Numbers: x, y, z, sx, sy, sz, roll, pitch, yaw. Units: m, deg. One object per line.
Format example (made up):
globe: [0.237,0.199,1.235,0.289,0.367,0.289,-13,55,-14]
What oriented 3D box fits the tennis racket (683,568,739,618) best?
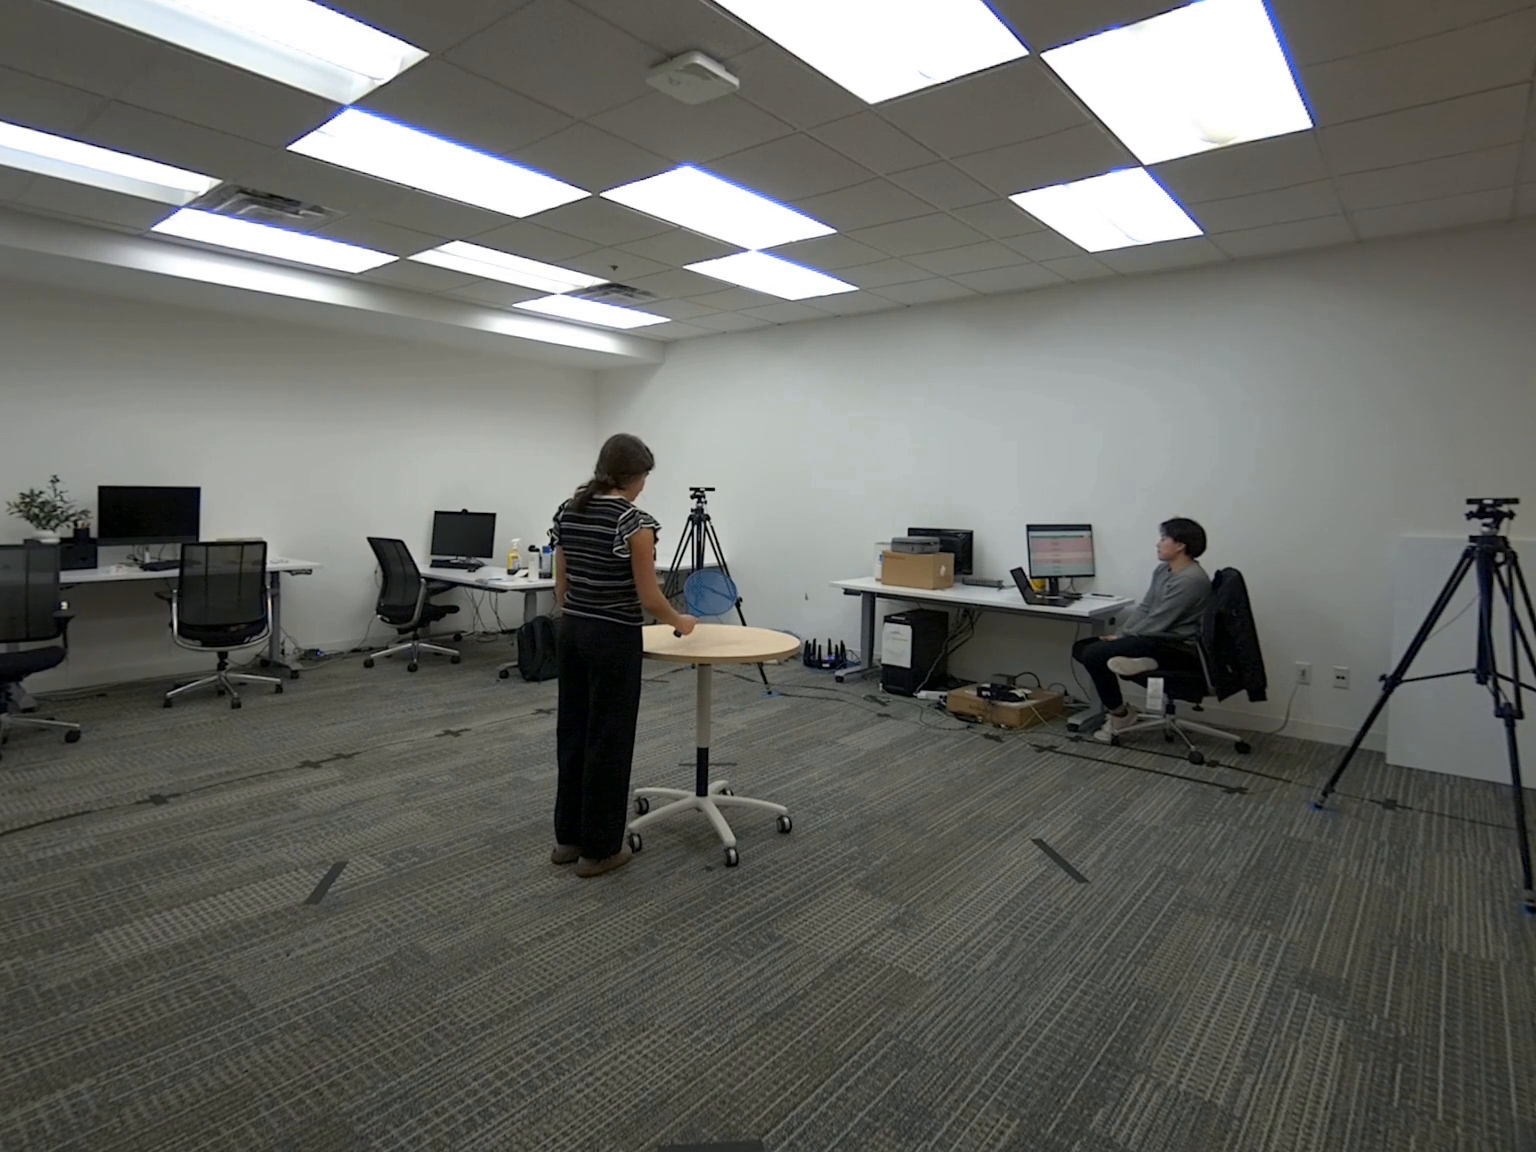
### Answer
tennis racket: [-0.265,0.111,3.365,0.215,0.031,0.434,31,39,4]
